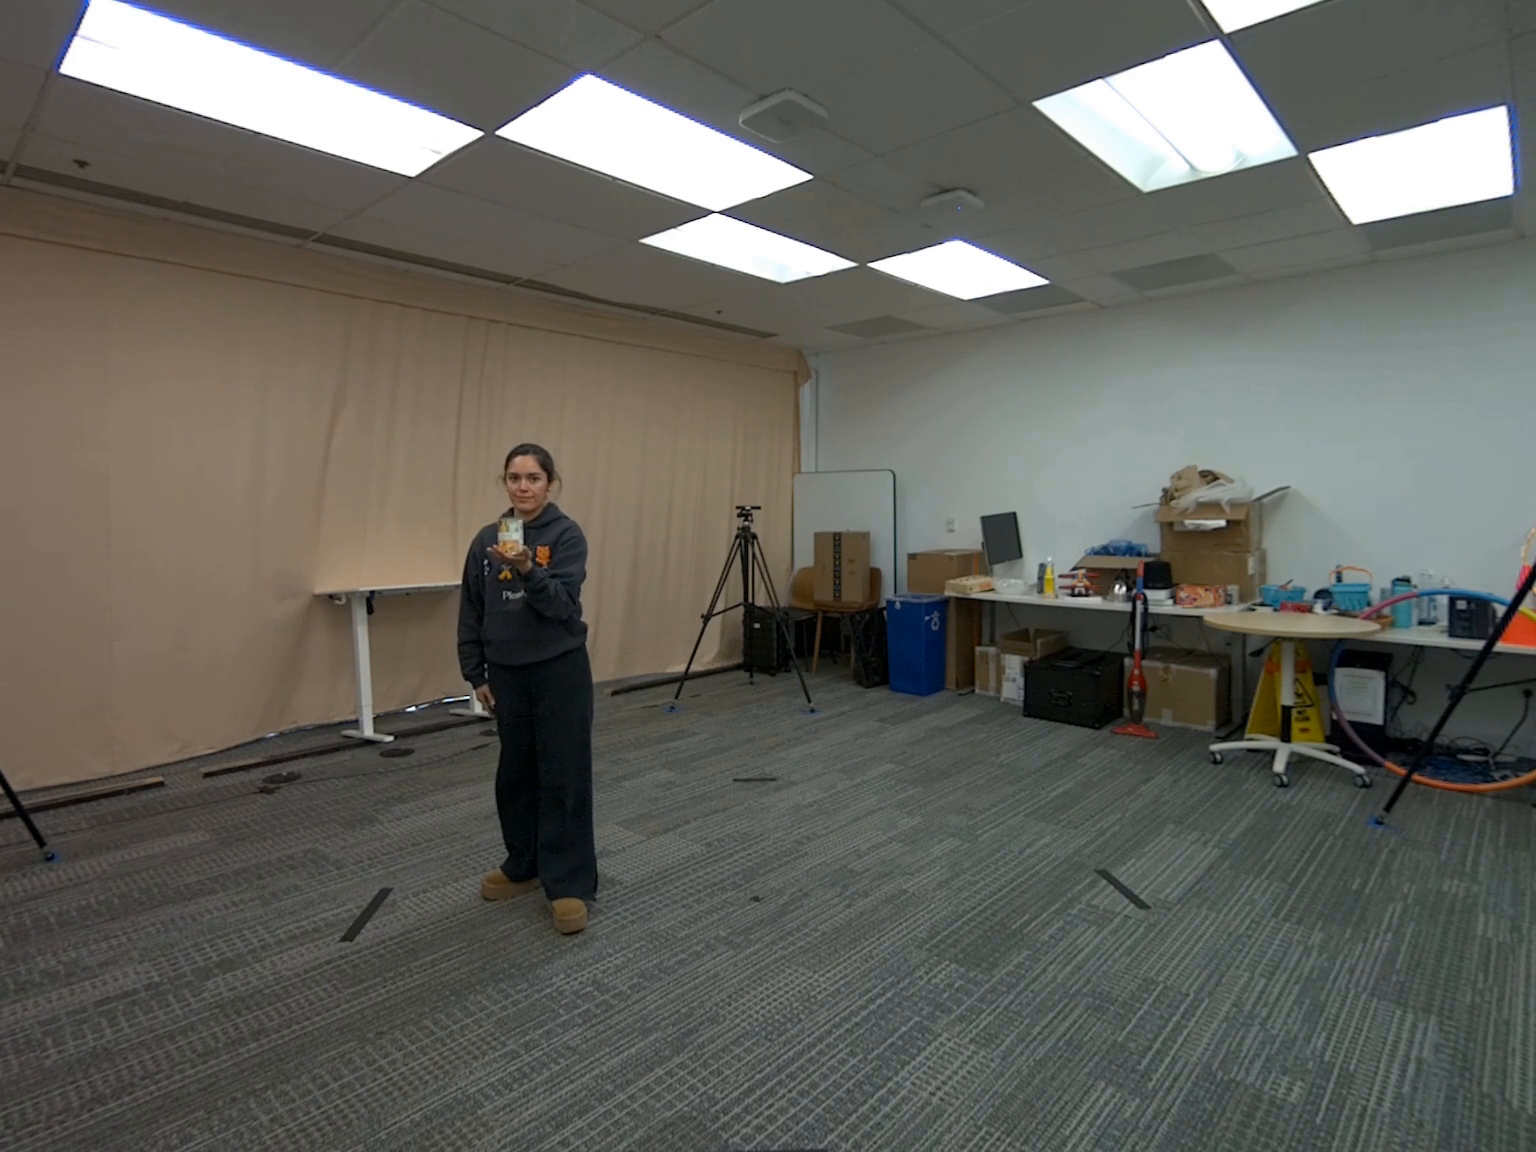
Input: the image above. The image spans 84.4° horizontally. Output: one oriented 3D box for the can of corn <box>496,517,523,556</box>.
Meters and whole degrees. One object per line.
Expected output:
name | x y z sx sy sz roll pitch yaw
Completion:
can of corn | -0.790 -0.117 2.562 0.074 0.111 0.074 -3 2 -2
